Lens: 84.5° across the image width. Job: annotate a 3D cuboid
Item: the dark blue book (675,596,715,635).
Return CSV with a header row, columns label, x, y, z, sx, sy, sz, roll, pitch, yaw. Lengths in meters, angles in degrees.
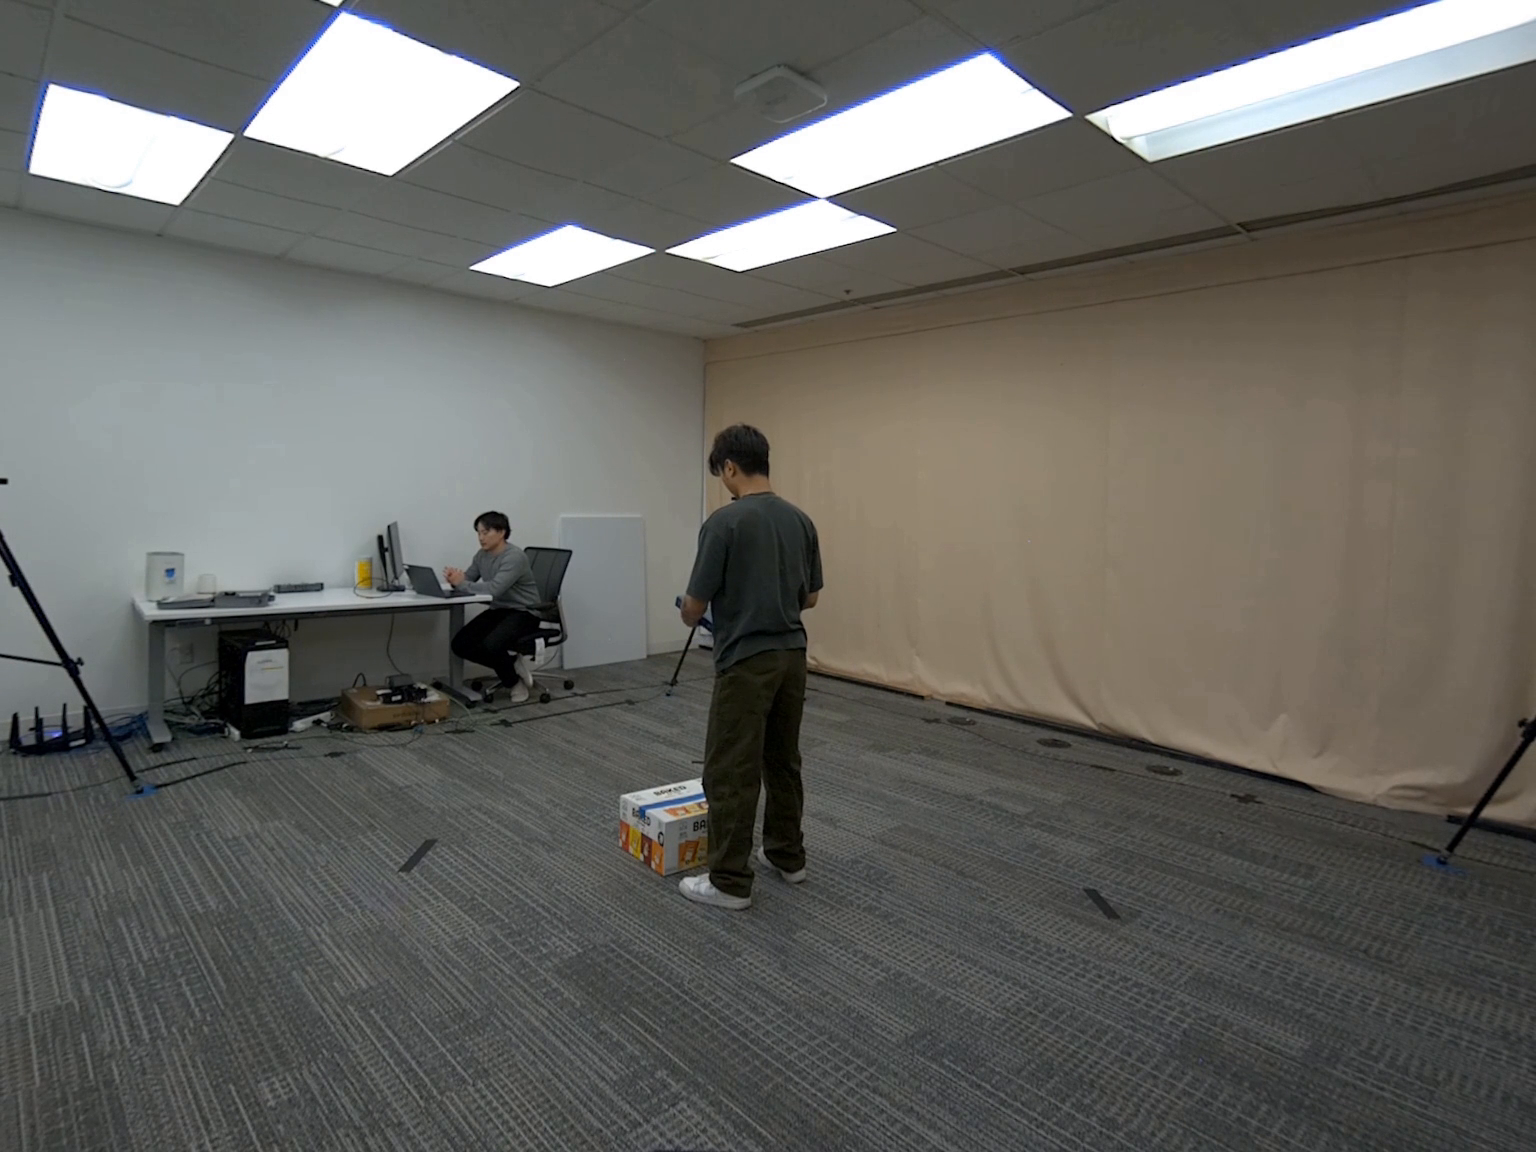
label,x,y,z,sx,sy,sz,roll,pitch,yaw
dark blue book,-0.218,0.136,3.209,0.160,0.045,0.253,-6,25,-44
